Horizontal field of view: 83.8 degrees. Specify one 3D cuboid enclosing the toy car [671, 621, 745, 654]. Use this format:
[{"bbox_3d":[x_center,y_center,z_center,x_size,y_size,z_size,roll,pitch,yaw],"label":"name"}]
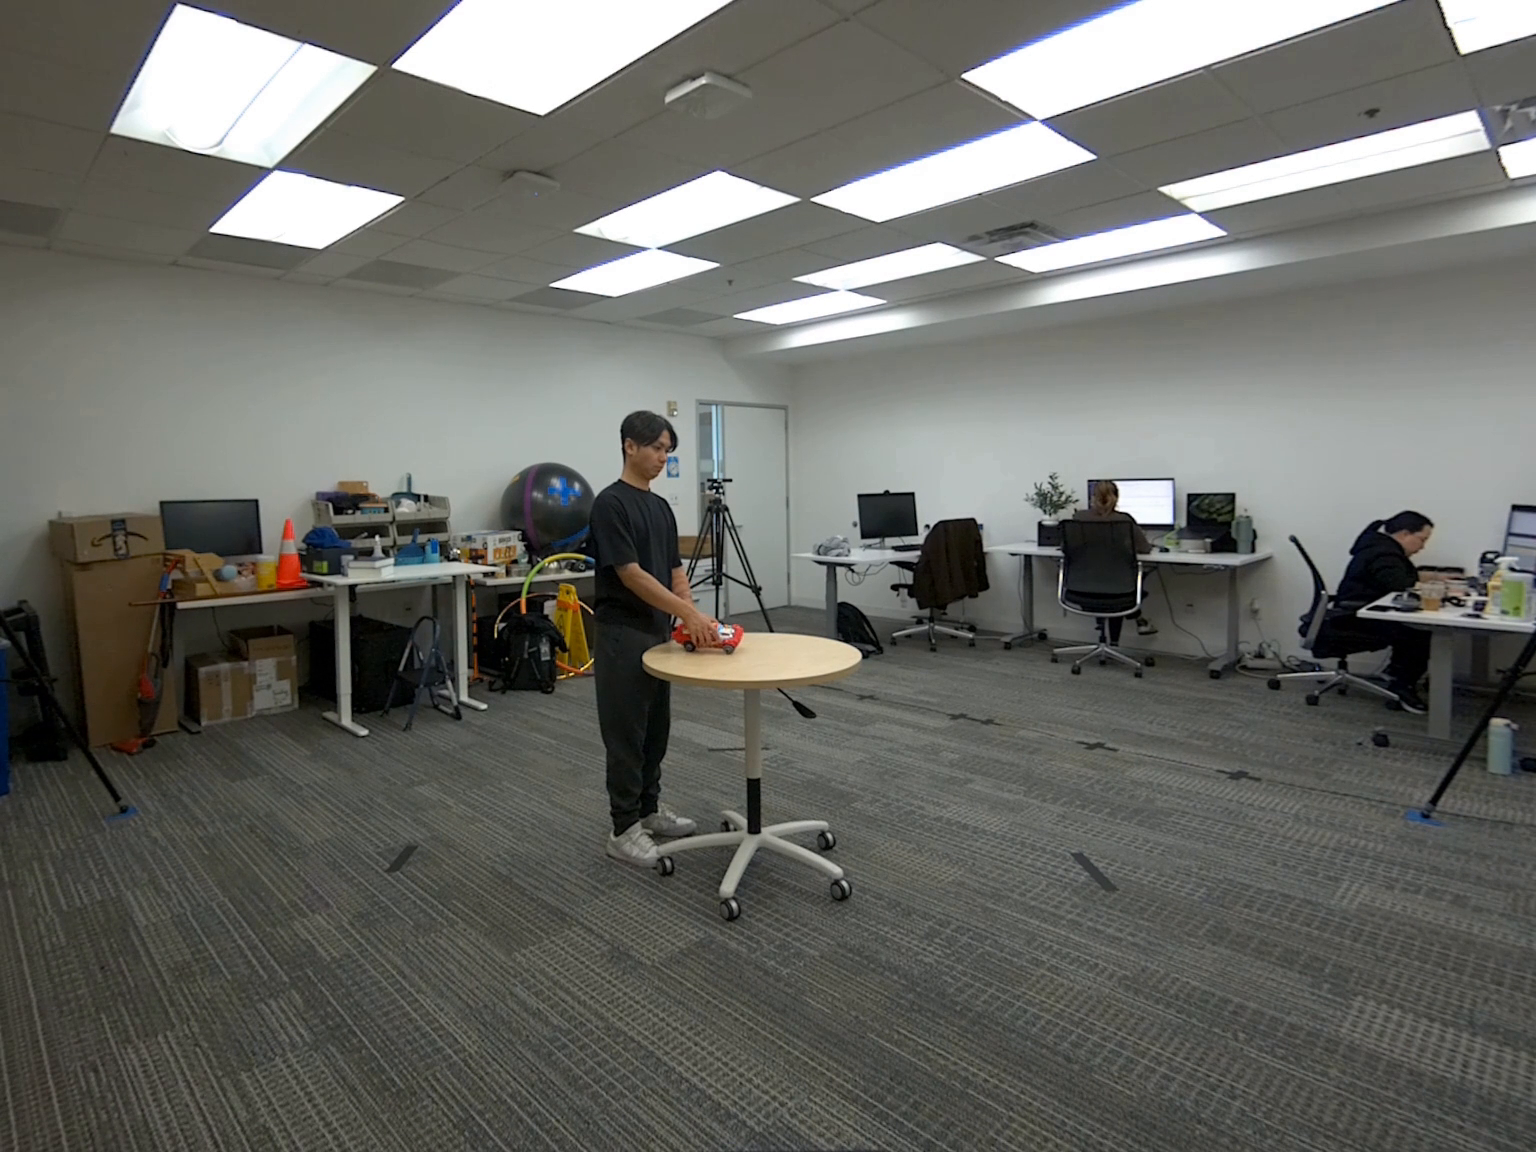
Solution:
[{"bbox_3d":[-0.224,0.216,3.063,0.259,0.081,0.131,10,35,14],"label":"toy car"}]
